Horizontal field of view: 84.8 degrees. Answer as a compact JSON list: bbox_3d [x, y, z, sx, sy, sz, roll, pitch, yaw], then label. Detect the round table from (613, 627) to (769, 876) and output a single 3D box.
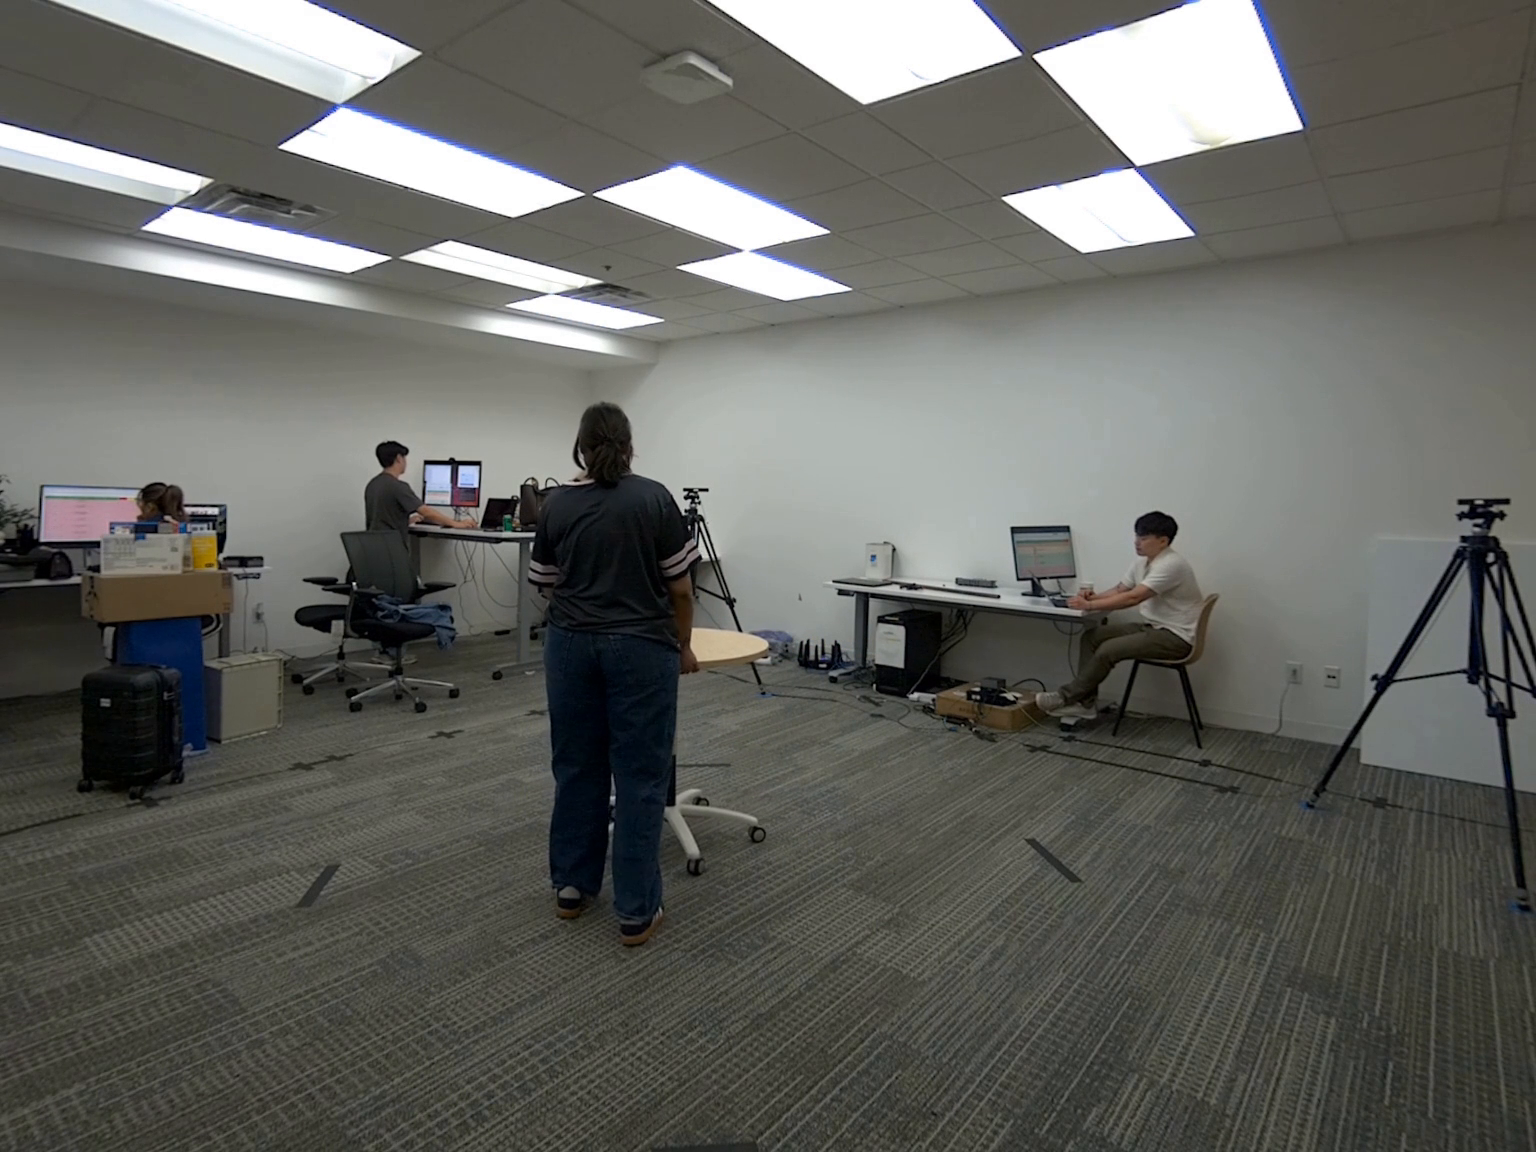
[{"bbox_3d":[-0.386,0.656,3.349,0.763,0.791,0.767,0,4,-2],"label":"round table"}]
